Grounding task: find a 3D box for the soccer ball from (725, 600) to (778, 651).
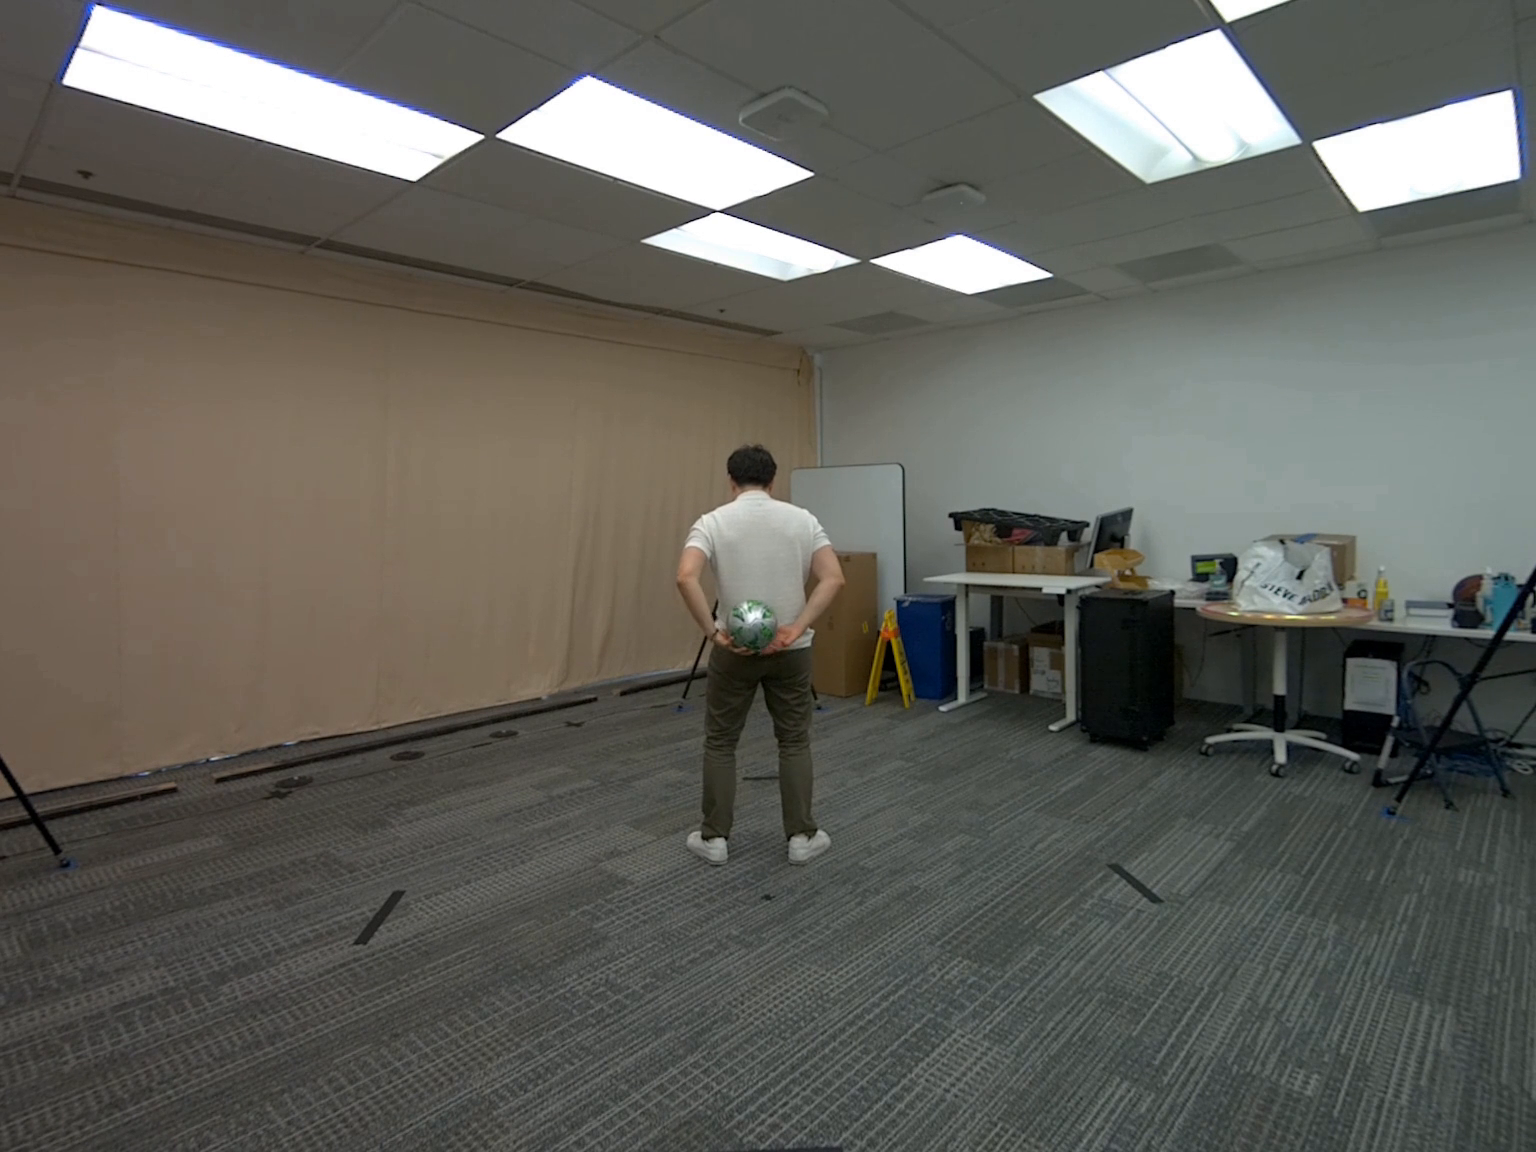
[{"bbox_3d":[-0.058,0.187,3.033,0.187,0.187,0.188,-1,4,-2],"label":"soccer ball"}]
